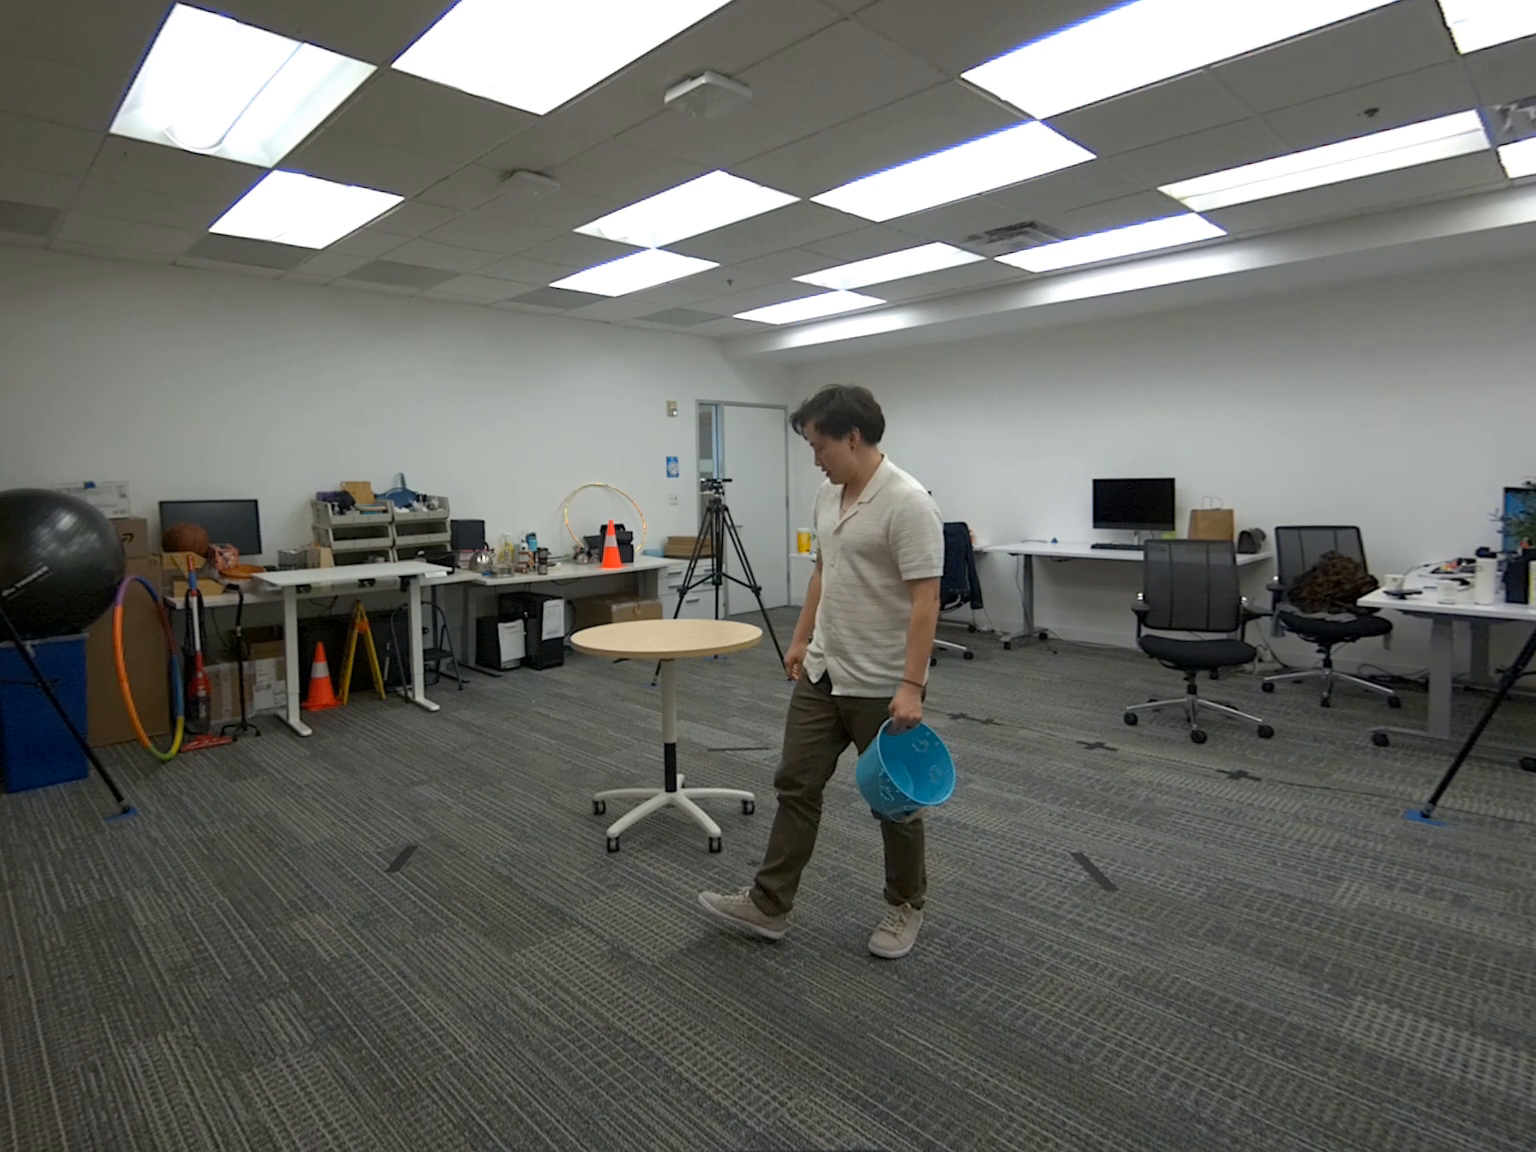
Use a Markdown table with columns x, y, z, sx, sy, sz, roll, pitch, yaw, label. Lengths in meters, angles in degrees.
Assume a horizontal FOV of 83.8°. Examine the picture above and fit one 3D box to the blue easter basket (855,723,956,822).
| x | y | z | sx | sy | sz | roll | pitch | yaw | label |
| --- | --- | --- | --- | --- | --- | --- | --- | --- | --- |
| 0.345 | 0.509 | 2.201 | 0.237 | 0.251 | 0.155 | -4 | -33 | -34 | blue easter basket |
